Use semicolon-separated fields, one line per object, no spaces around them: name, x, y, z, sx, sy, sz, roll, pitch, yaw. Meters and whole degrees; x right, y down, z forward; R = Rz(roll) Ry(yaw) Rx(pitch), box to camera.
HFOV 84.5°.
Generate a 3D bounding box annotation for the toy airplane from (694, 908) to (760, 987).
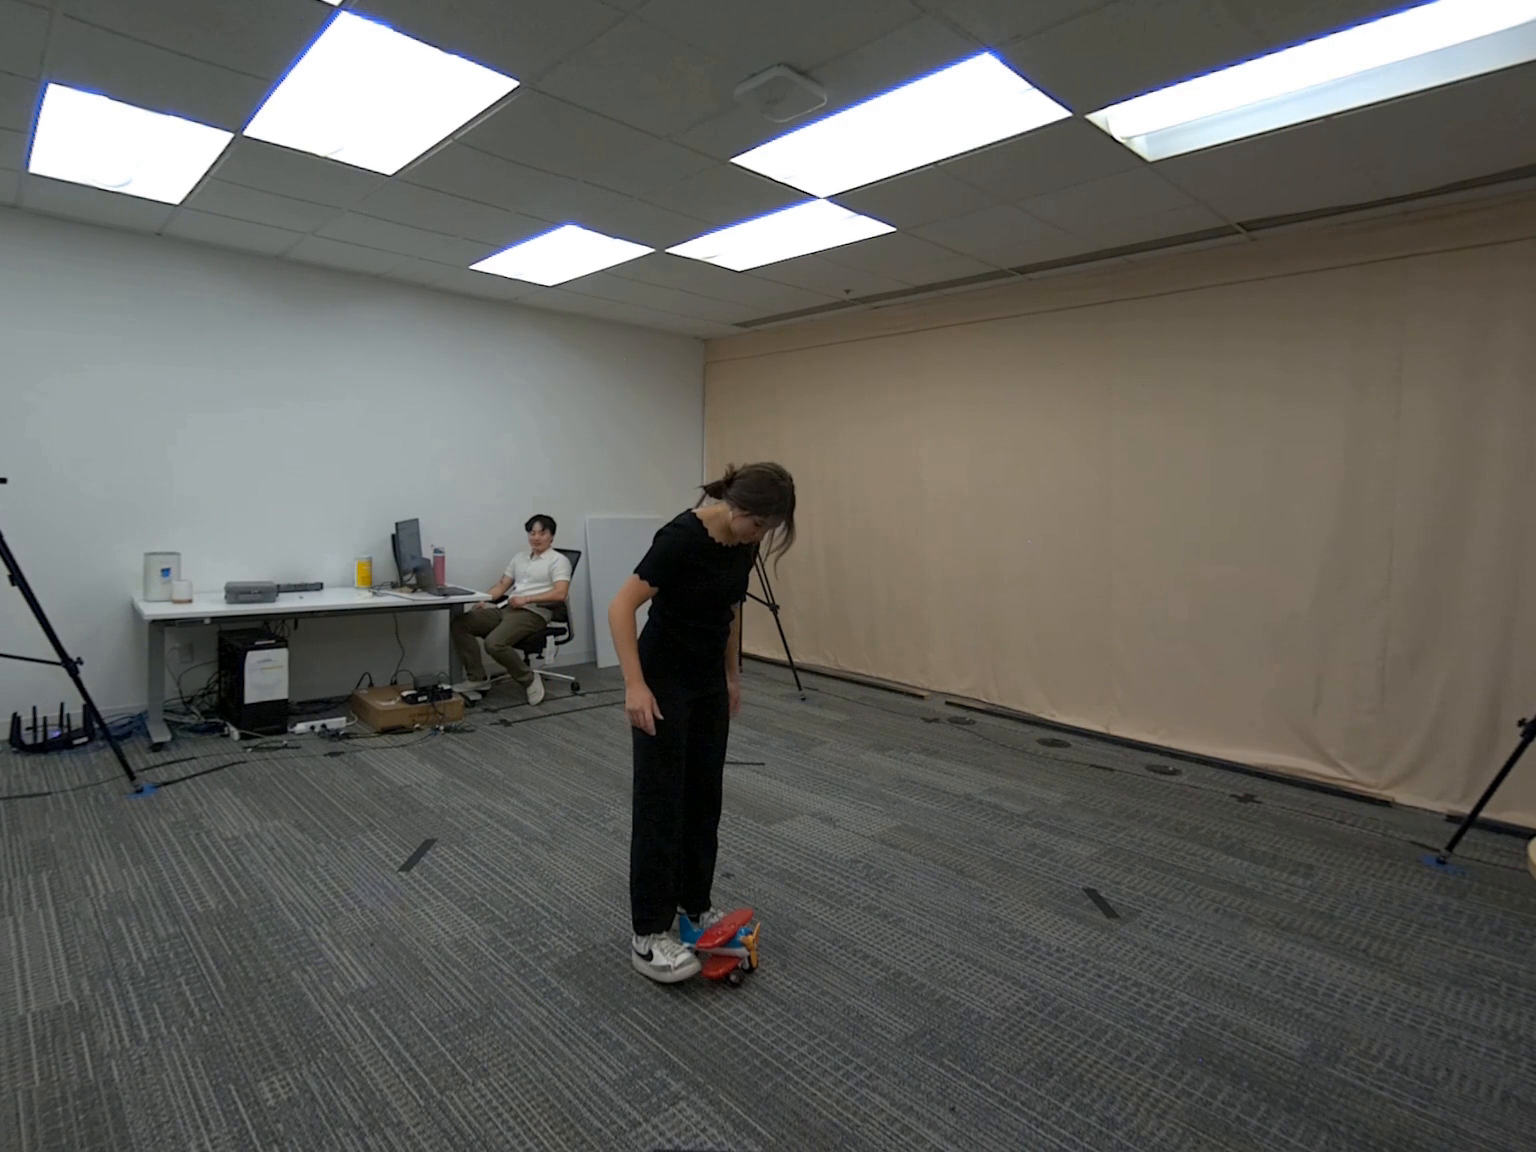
toy airplane;-0.167;1.092;2.457;0.259;0.156;0.252;2;5;-1
